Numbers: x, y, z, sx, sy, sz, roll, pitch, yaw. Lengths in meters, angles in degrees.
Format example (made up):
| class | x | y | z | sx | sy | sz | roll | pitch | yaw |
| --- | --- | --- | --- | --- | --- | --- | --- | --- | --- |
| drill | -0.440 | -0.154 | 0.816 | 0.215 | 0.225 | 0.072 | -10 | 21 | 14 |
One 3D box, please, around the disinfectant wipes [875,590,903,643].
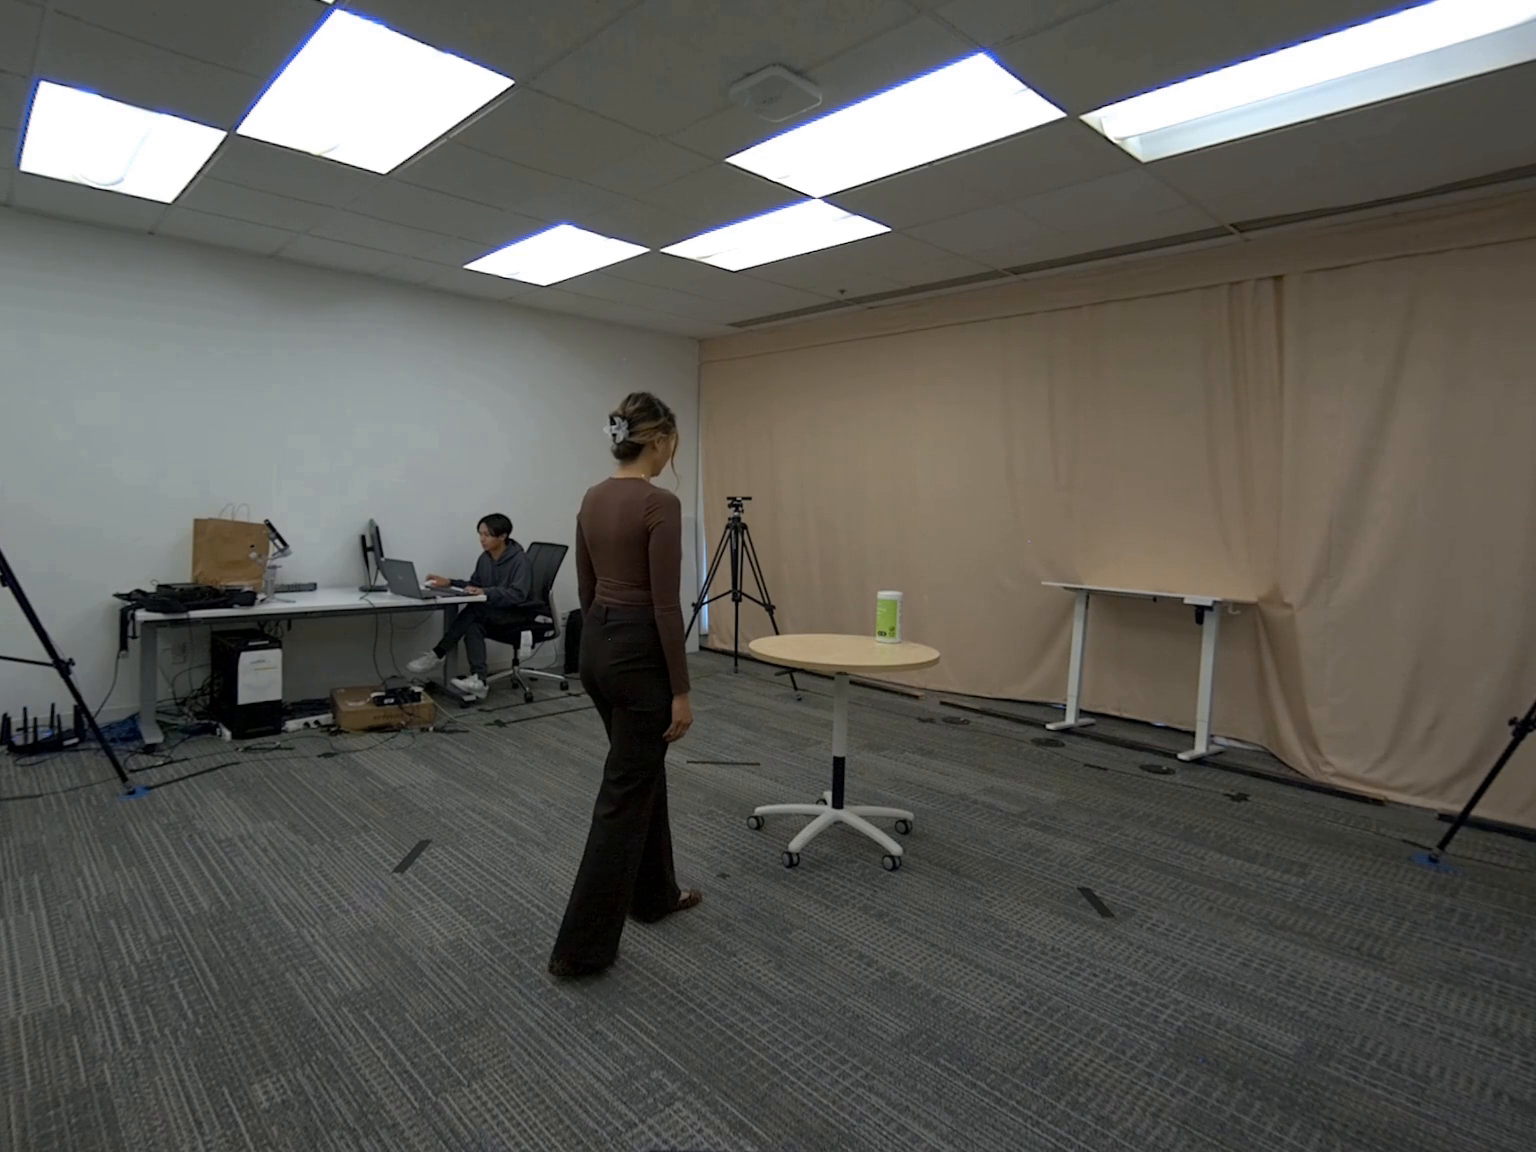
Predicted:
| class | x | y | z | sx | sy | sz | roll | pitch | yaw |
| --- | --- | --- | --- | --- | --- | --- | --- | --- | --- |
| disinfectant wipes | 0.518 | 0.178 | 3.629 | 0.118 | 0.217 | 0.118 | 2 | 2 | -1 |
